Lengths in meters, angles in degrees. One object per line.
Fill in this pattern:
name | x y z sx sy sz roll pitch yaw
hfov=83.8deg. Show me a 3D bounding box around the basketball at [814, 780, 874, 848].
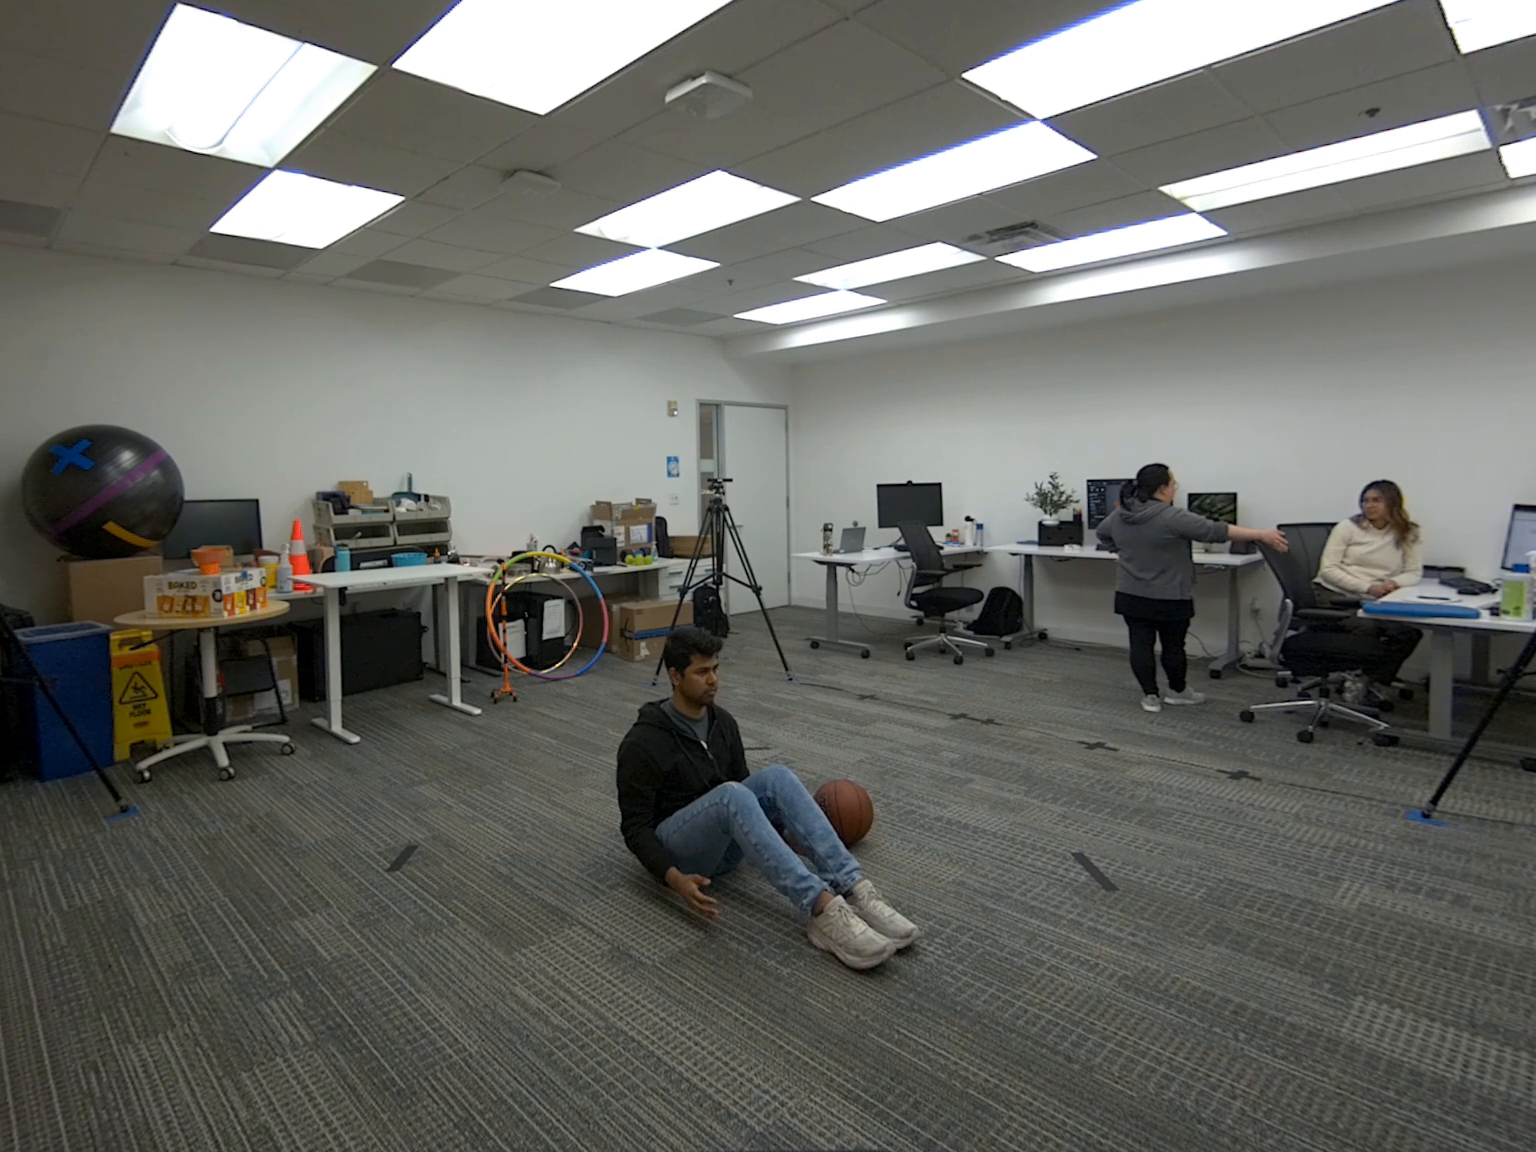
basketball | 0.287 0.897 3.269 0.236 0.235 0.237 -1 5 -2
